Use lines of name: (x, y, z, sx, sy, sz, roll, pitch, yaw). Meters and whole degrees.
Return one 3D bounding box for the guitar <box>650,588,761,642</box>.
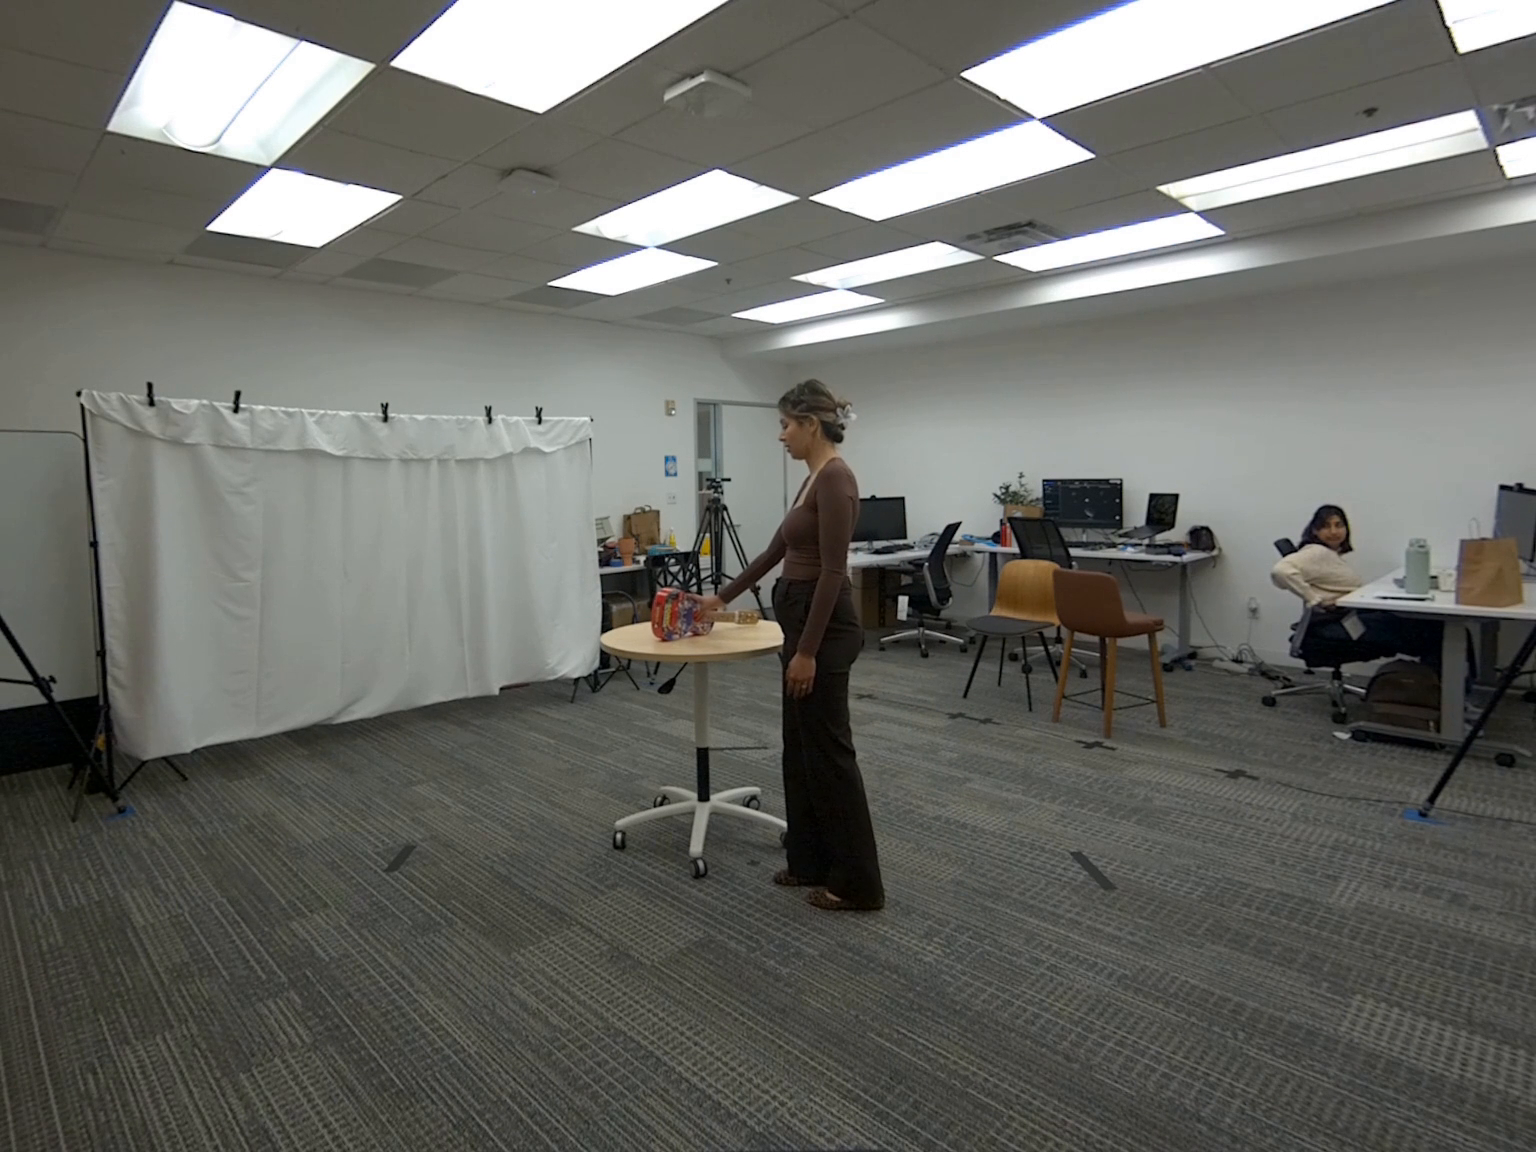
guitar: (-0.235, 0.182, 3.315, 0.480, 0.194, 0.073, 17, -10, -42)
